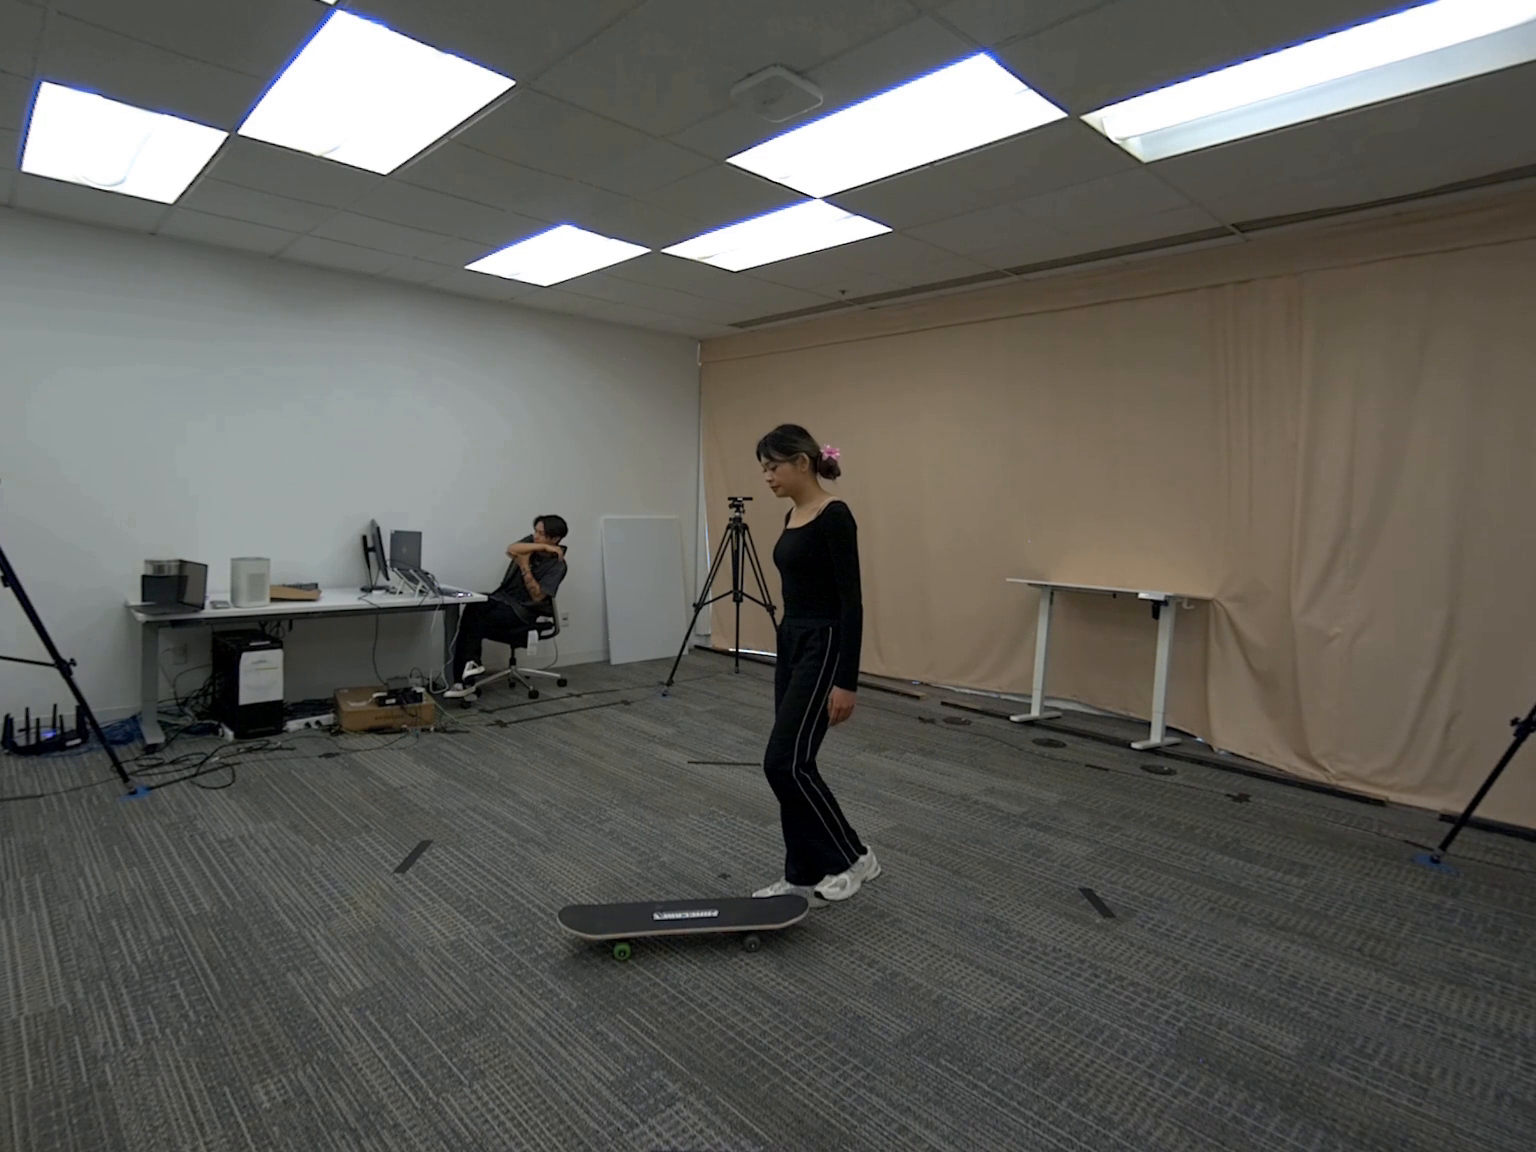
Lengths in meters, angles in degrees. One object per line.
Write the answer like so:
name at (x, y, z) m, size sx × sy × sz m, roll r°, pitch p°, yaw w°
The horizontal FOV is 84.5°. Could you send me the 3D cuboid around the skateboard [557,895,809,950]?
skateboard at (-0.261, 1.094, 2.623) m, size 0.780 × 0.110 × 0.195 m, roll 1°, pitch 3°, yaw -8°
